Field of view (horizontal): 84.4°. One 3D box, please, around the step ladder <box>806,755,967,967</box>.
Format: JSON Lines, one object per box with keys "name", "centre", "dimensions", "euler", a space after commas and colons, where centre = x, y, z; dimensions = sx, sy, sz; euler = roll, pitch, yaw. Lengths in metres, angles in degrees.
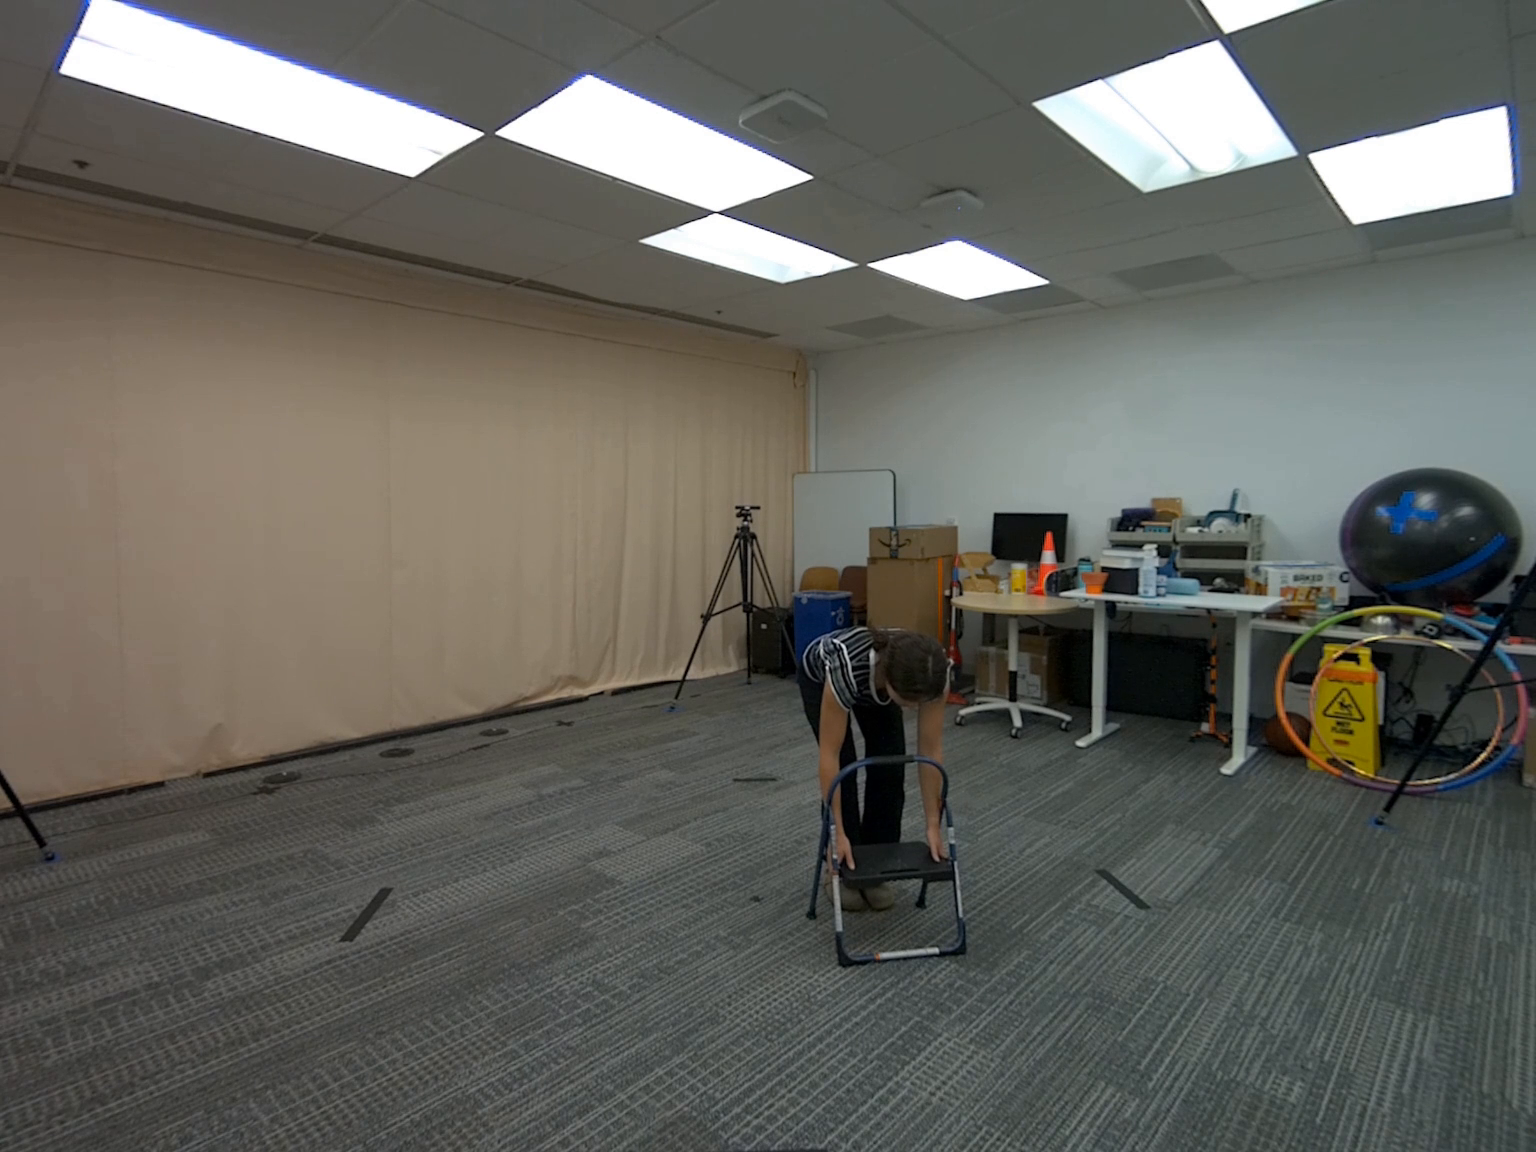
{"name": "step ladder", "centre": [0.377, 0.863, 2.725], "dimensions": [0.425, 0.605, 0.354], "euler": [-1, 3, -12]}
